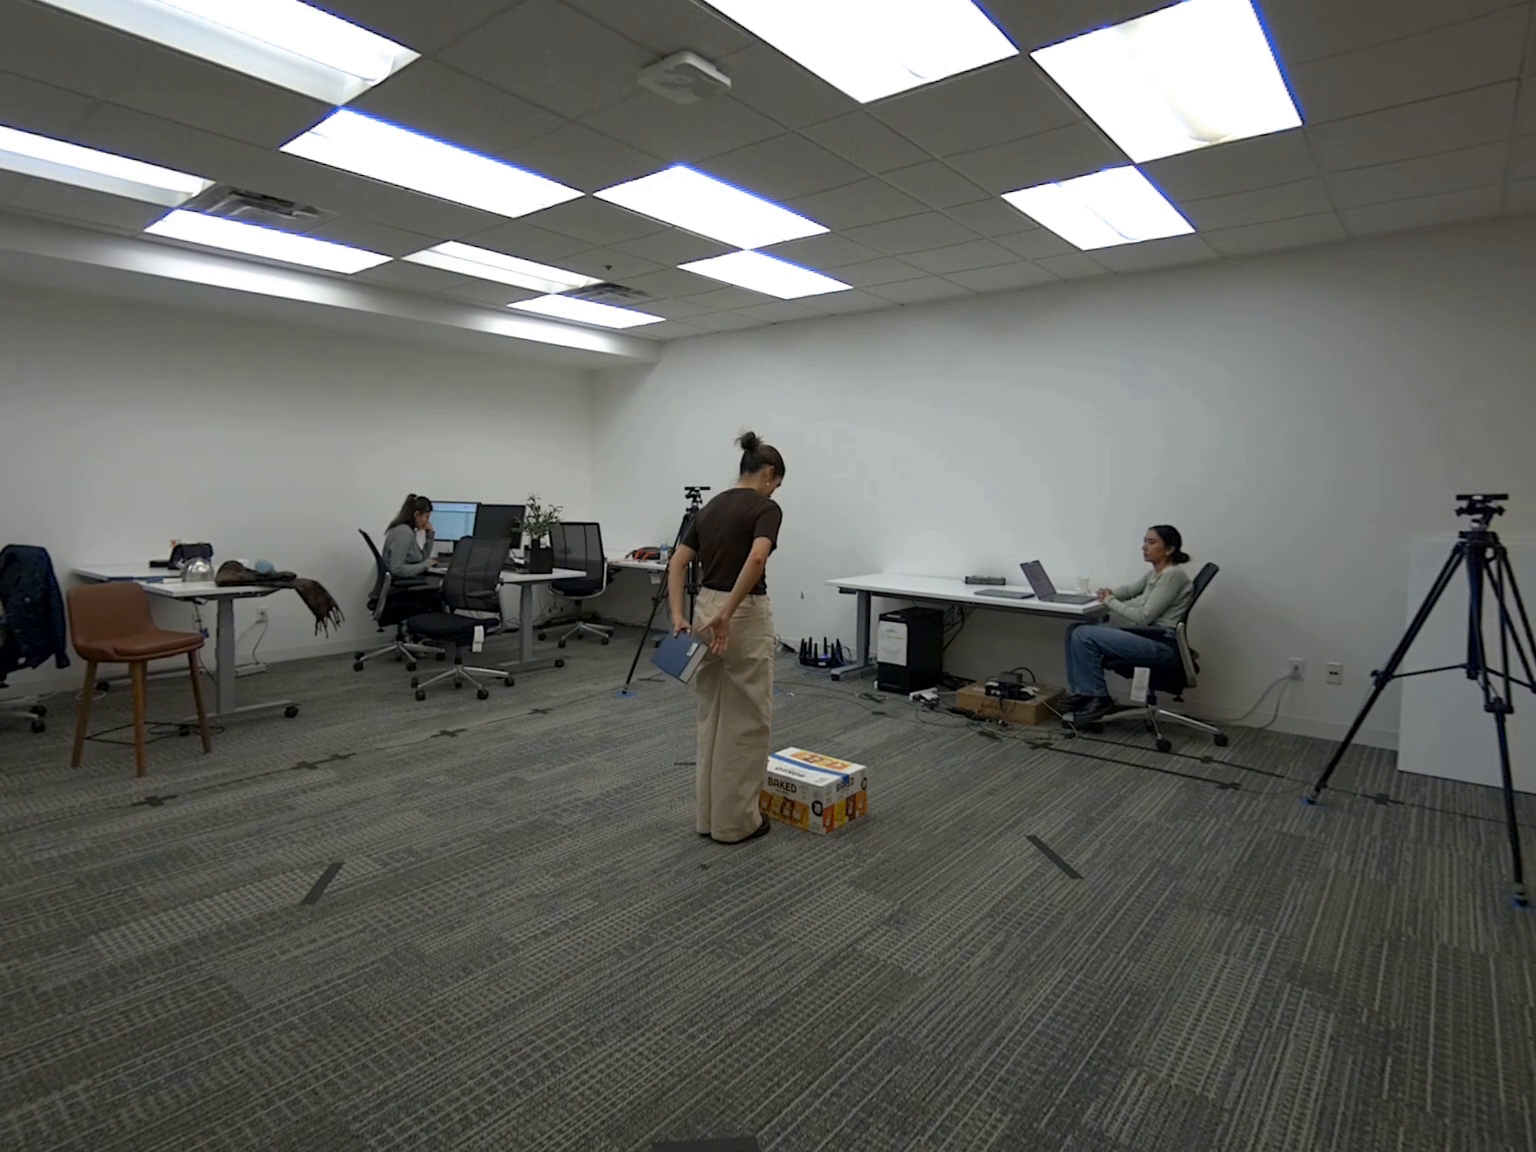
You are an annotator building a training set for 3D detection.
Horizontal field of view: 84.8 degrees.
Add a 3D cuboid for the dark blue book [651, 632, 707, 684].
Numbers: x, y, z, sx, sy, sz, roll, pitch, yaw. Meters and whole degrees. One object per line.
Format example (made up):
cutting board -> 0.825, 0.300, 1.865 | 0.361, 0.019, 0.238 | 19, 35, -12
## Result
dark blue book -> -0.350, 0.296, 3.241 | 0.043, 0.164, 0.253 | 40, -14, -31
